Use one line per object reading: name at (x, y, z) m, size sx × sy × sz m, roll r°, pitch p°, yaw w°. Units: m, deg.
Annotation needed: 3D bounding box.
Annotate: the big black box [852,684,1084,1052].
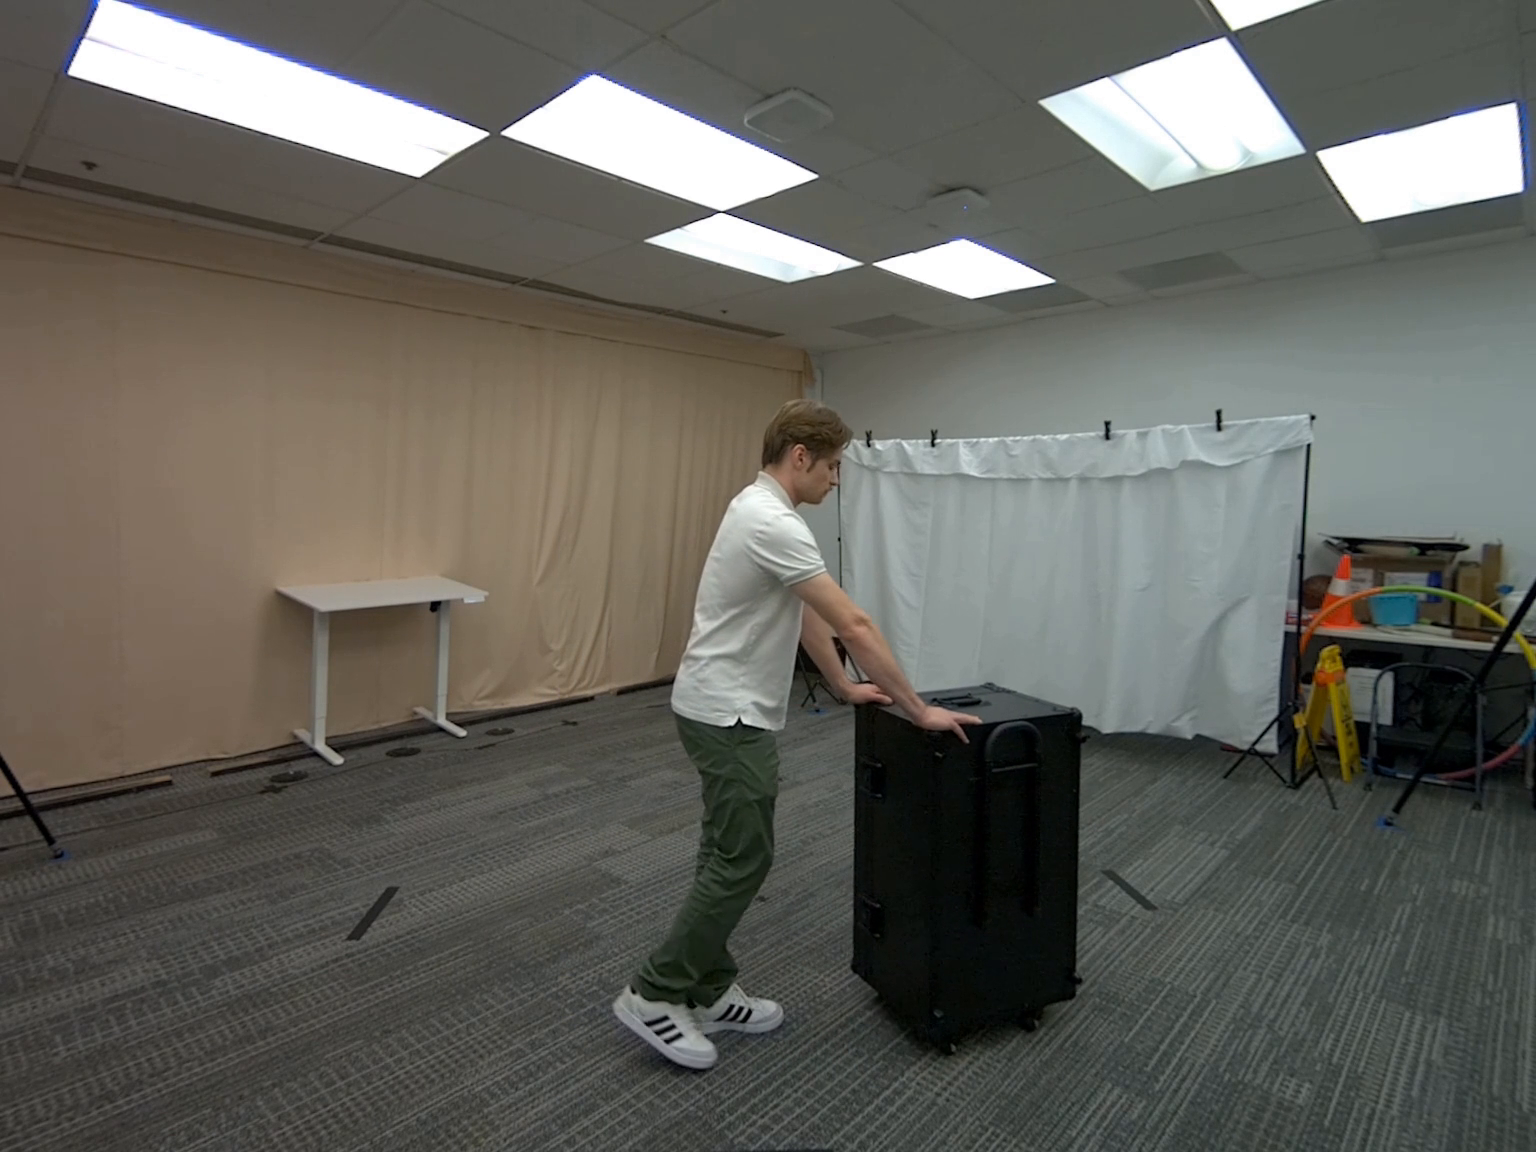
big black box at (0.549, 0.780, 2.306) m, size 0.511 × 0.866 × 0.395 m, roll -2°, pitch 4°, yaw -25°
